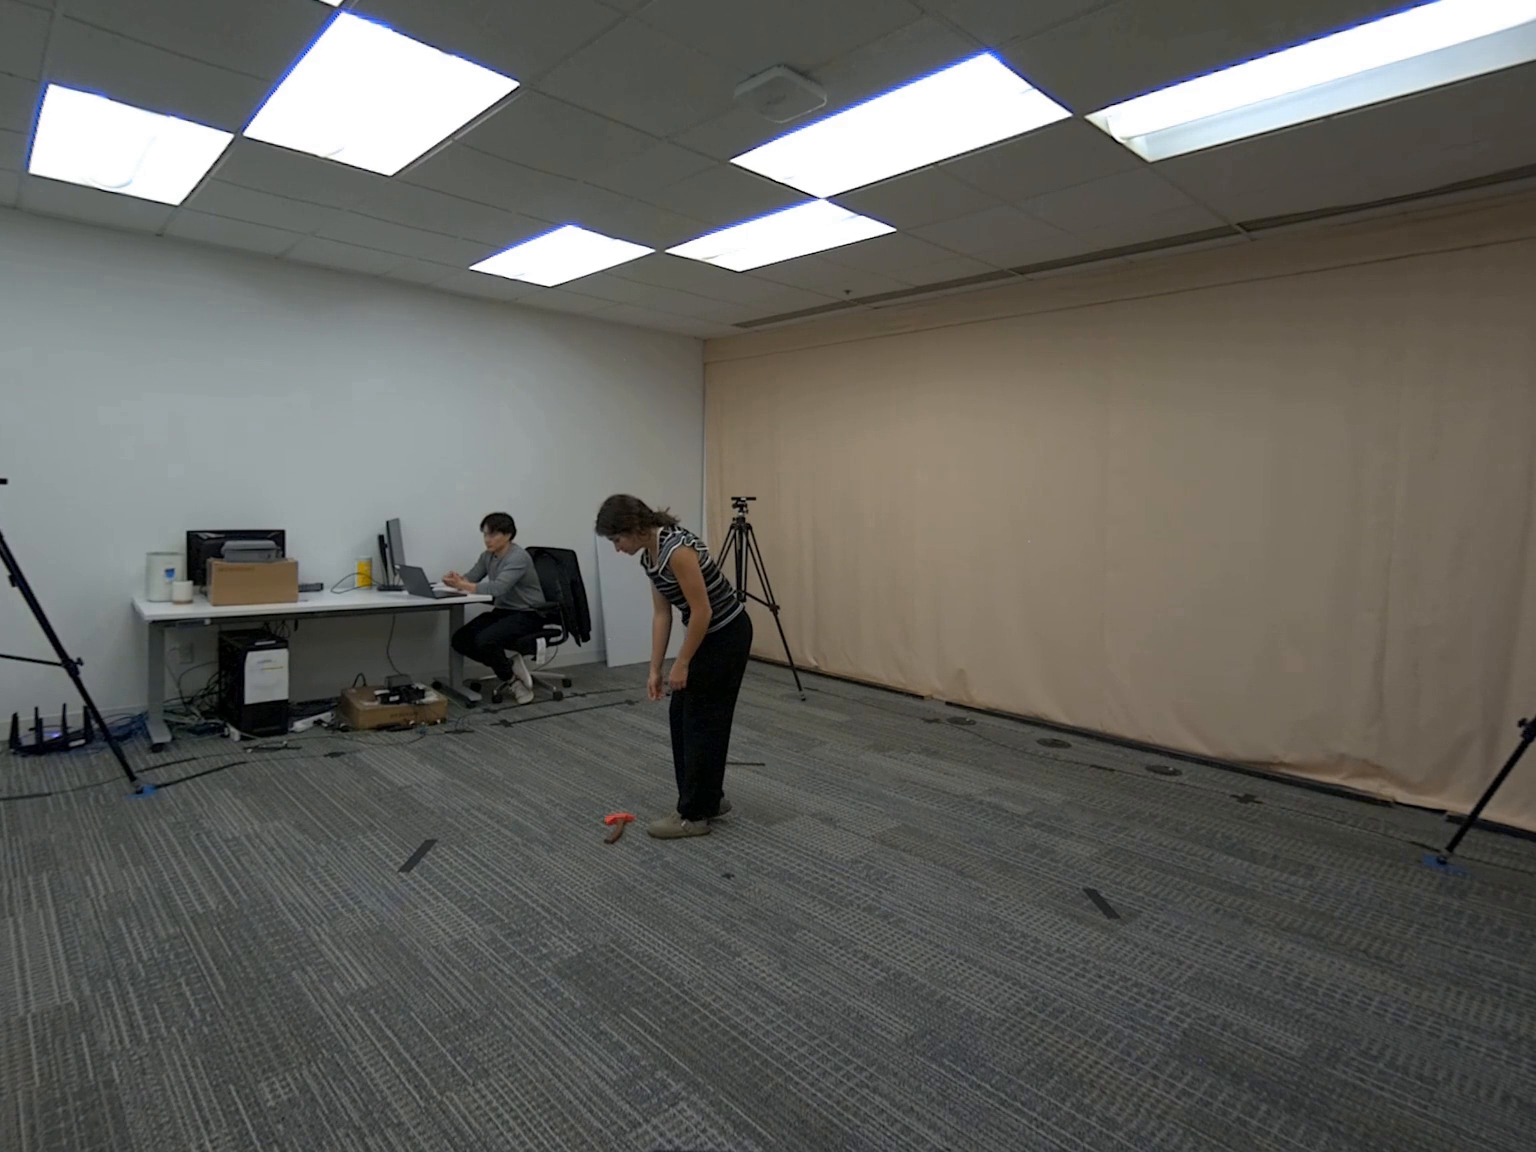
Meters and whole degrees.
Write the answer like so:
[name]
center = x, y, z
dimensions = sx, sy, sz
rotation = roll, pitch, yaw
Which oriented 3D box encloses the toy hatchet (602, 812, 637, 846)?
[toy hatchet]
center = -0.658, 1.047, 3.503
dimensions = 0.132, 0.029, 0.268
rotation = 4, 6, 12
